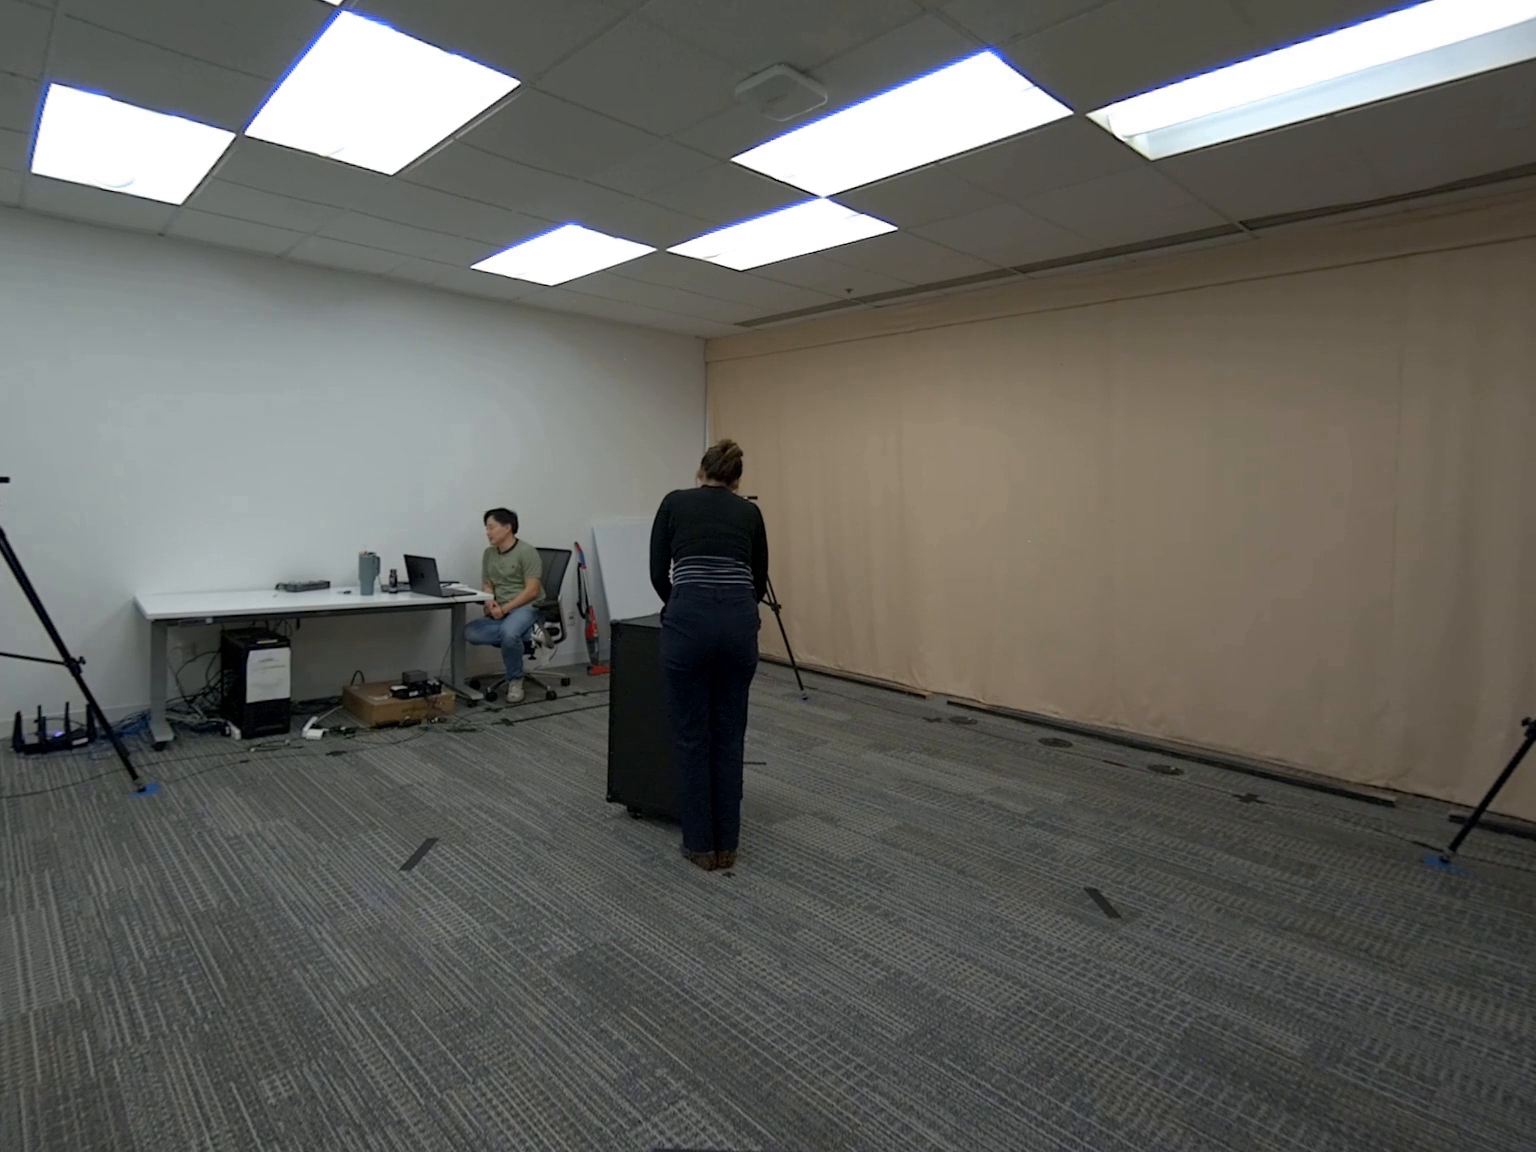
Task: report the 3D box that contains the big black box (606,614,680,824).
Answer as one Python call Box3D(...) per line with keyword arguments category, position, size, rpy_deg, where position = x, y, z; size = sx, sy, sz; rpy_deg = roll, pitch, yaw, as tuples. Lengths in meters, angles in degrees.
Box3D(category="big black box", position=(-0.406, 0.622, 3.673), size=(0.532, 0.860, 0.389), rpy_deg=(3, 2, 26))
